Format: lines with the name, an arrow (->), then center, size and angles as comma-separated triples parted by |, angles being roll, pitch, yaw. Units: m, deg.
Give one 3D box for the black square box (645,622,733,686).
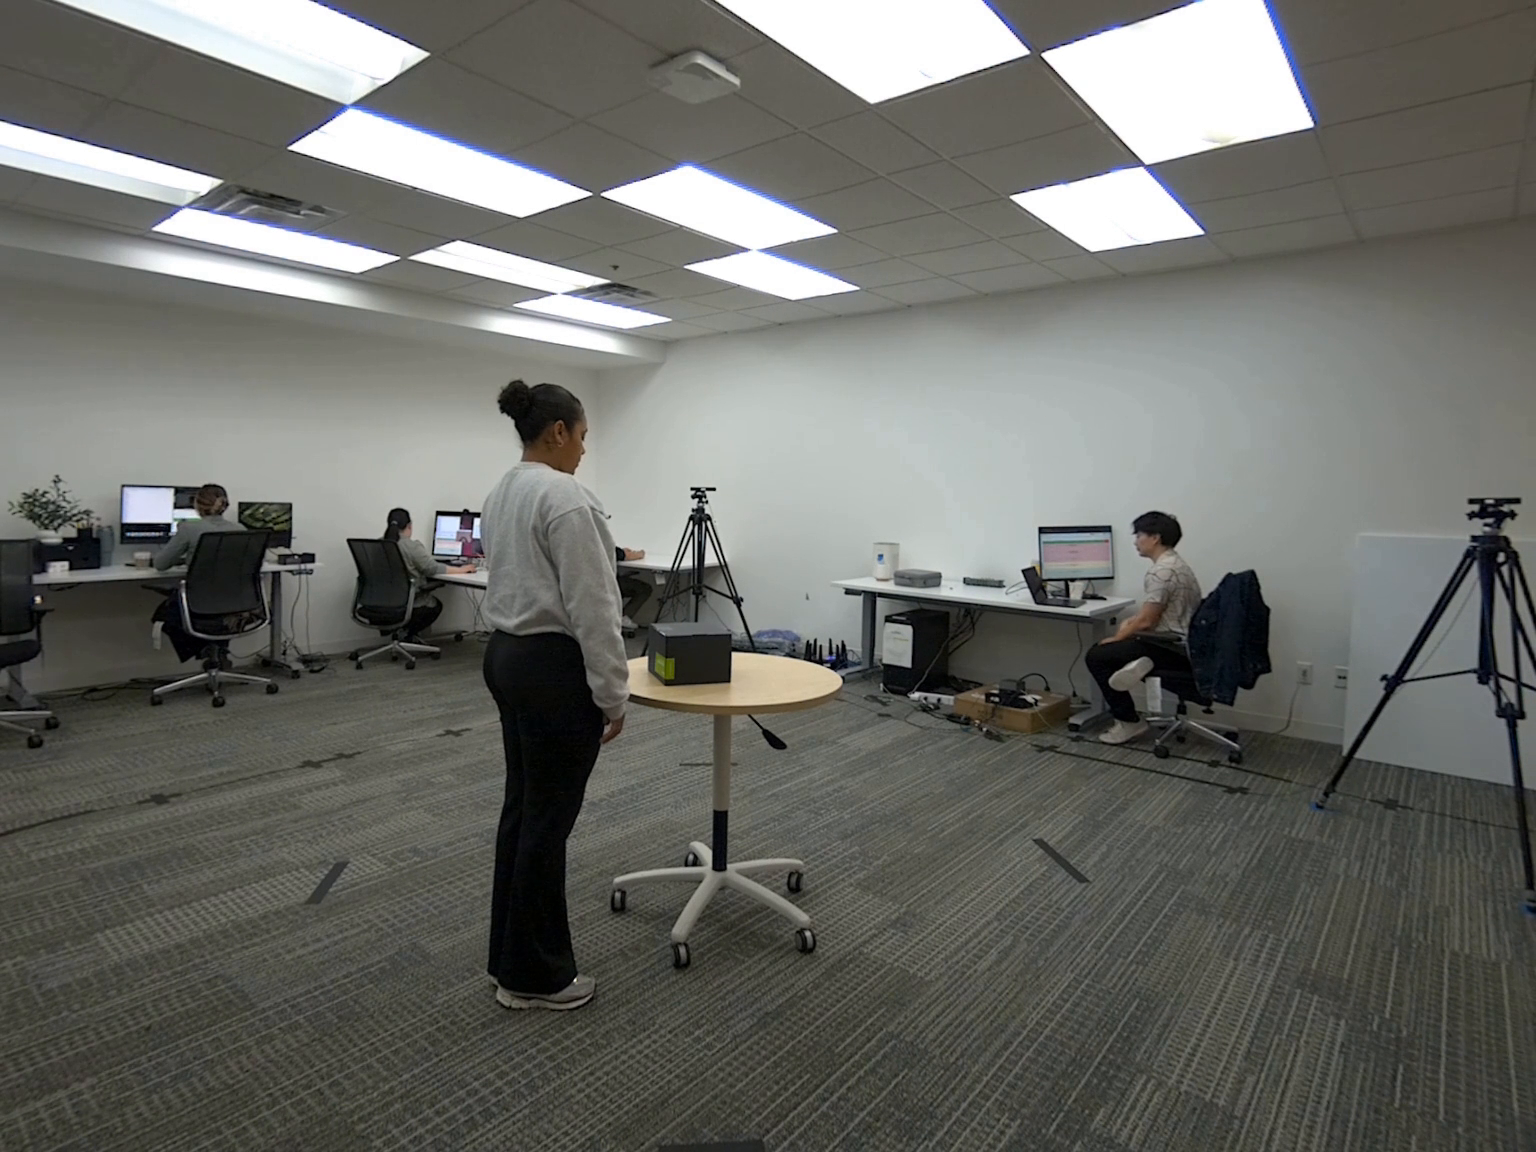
black square box -> -0.262, 0.239, 2.720 | 0.213, 0.155, 0.233 | 0, 6, -19
